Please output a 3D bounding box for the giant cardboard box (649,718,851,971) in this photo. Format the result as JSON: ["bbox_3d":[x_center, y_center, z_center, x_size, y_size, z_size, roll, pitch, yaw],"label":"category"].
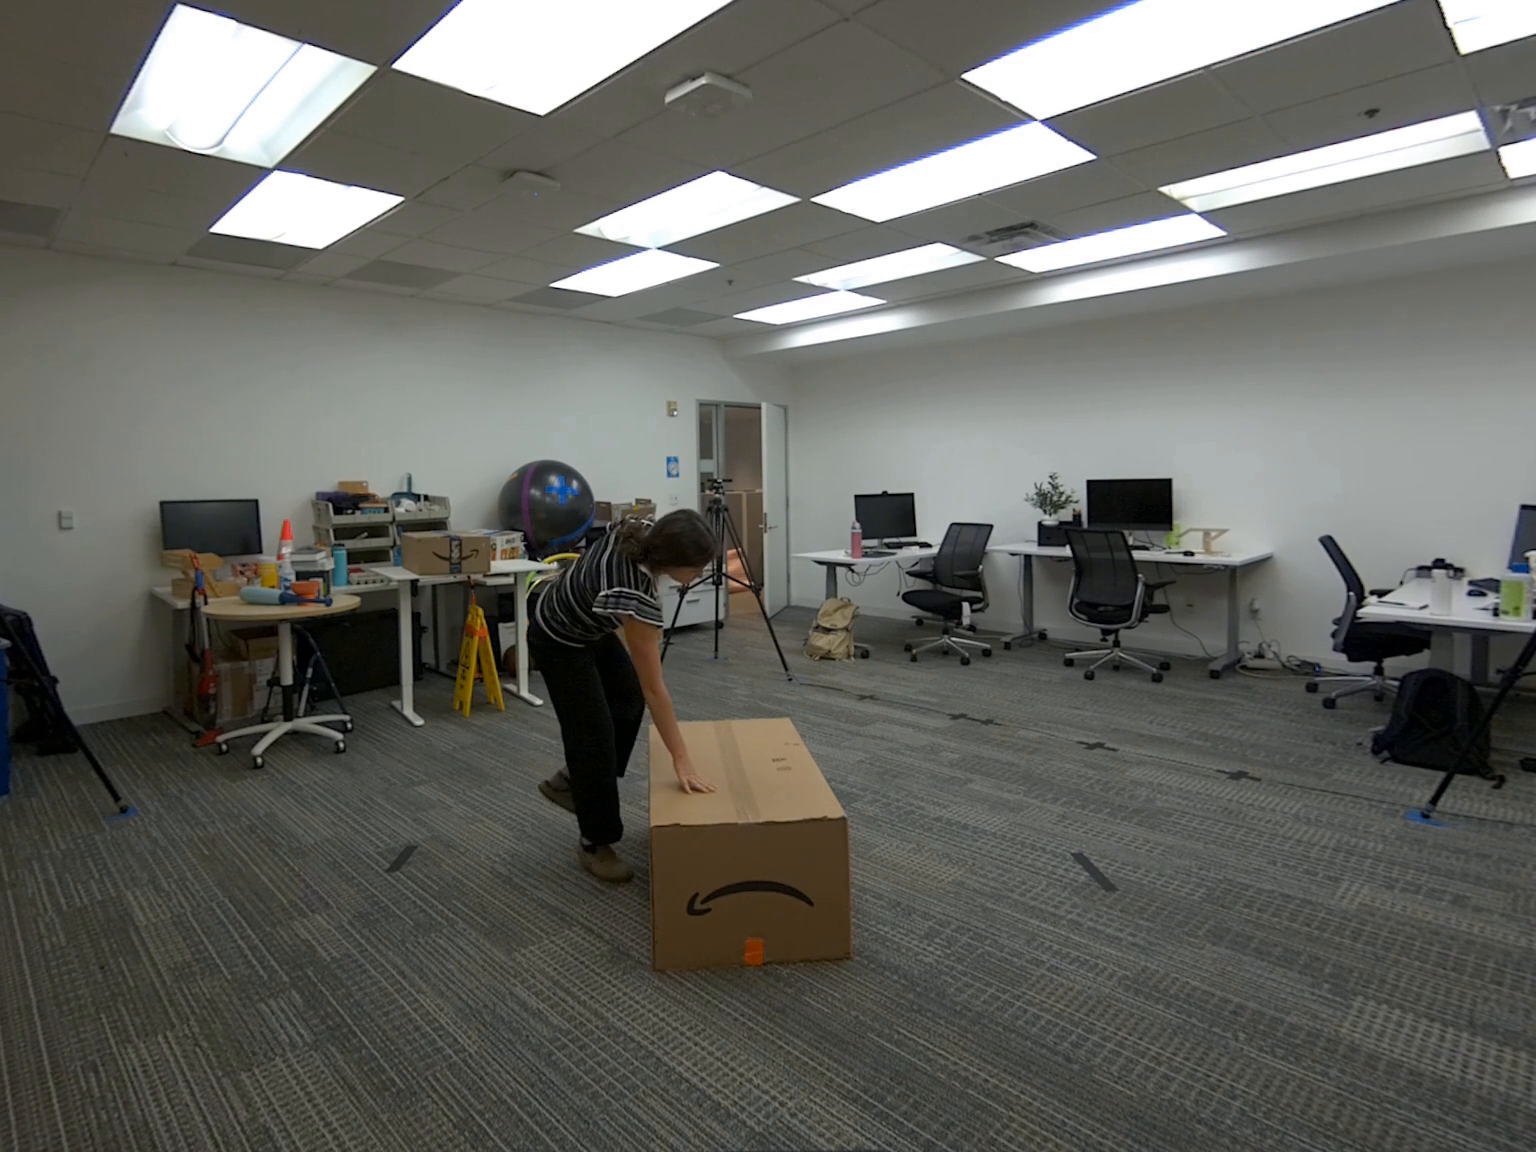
[{"bbox_3d":[-0.116,0.854,2.946,0.574,0.424,1.037,-2,7,-7],"label":"giant cardboard box"}]
